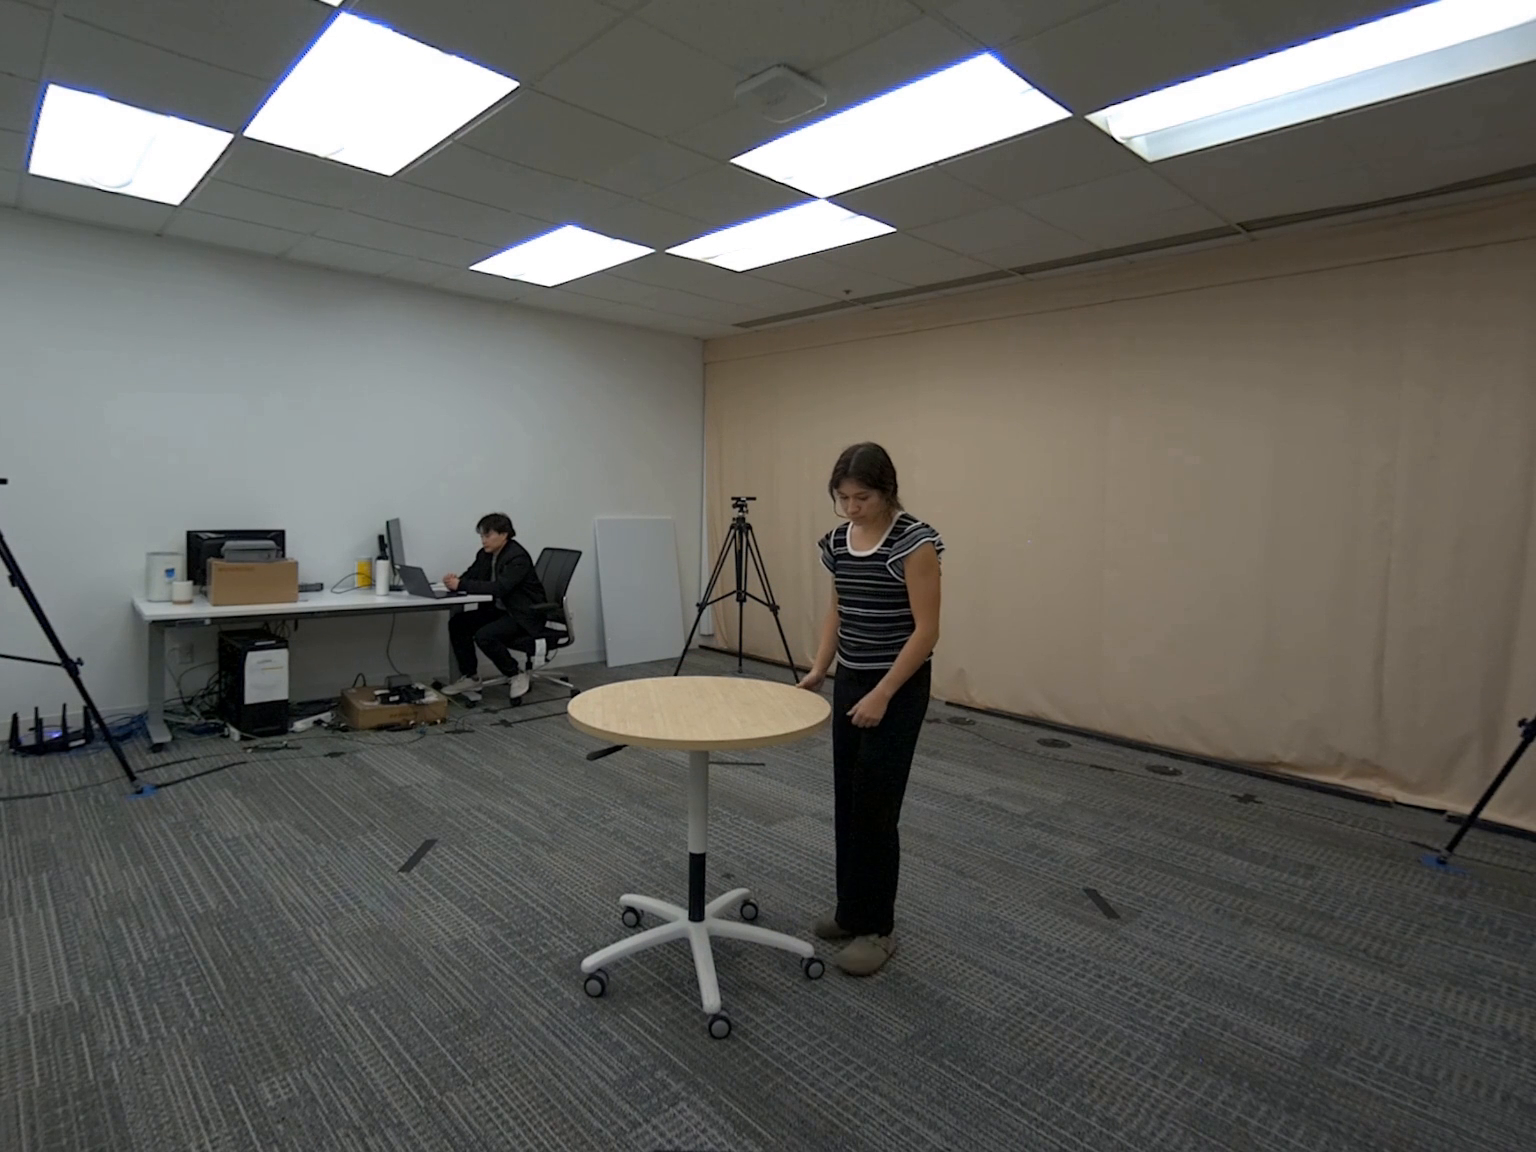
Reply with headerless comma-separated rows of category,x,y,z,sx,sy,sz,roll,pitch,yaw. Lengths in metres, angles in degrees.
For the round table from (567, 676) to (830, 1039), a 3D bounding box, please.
round table,-0.204,0.769,2.487,0.763,0.792,0.767,1,4,-1
